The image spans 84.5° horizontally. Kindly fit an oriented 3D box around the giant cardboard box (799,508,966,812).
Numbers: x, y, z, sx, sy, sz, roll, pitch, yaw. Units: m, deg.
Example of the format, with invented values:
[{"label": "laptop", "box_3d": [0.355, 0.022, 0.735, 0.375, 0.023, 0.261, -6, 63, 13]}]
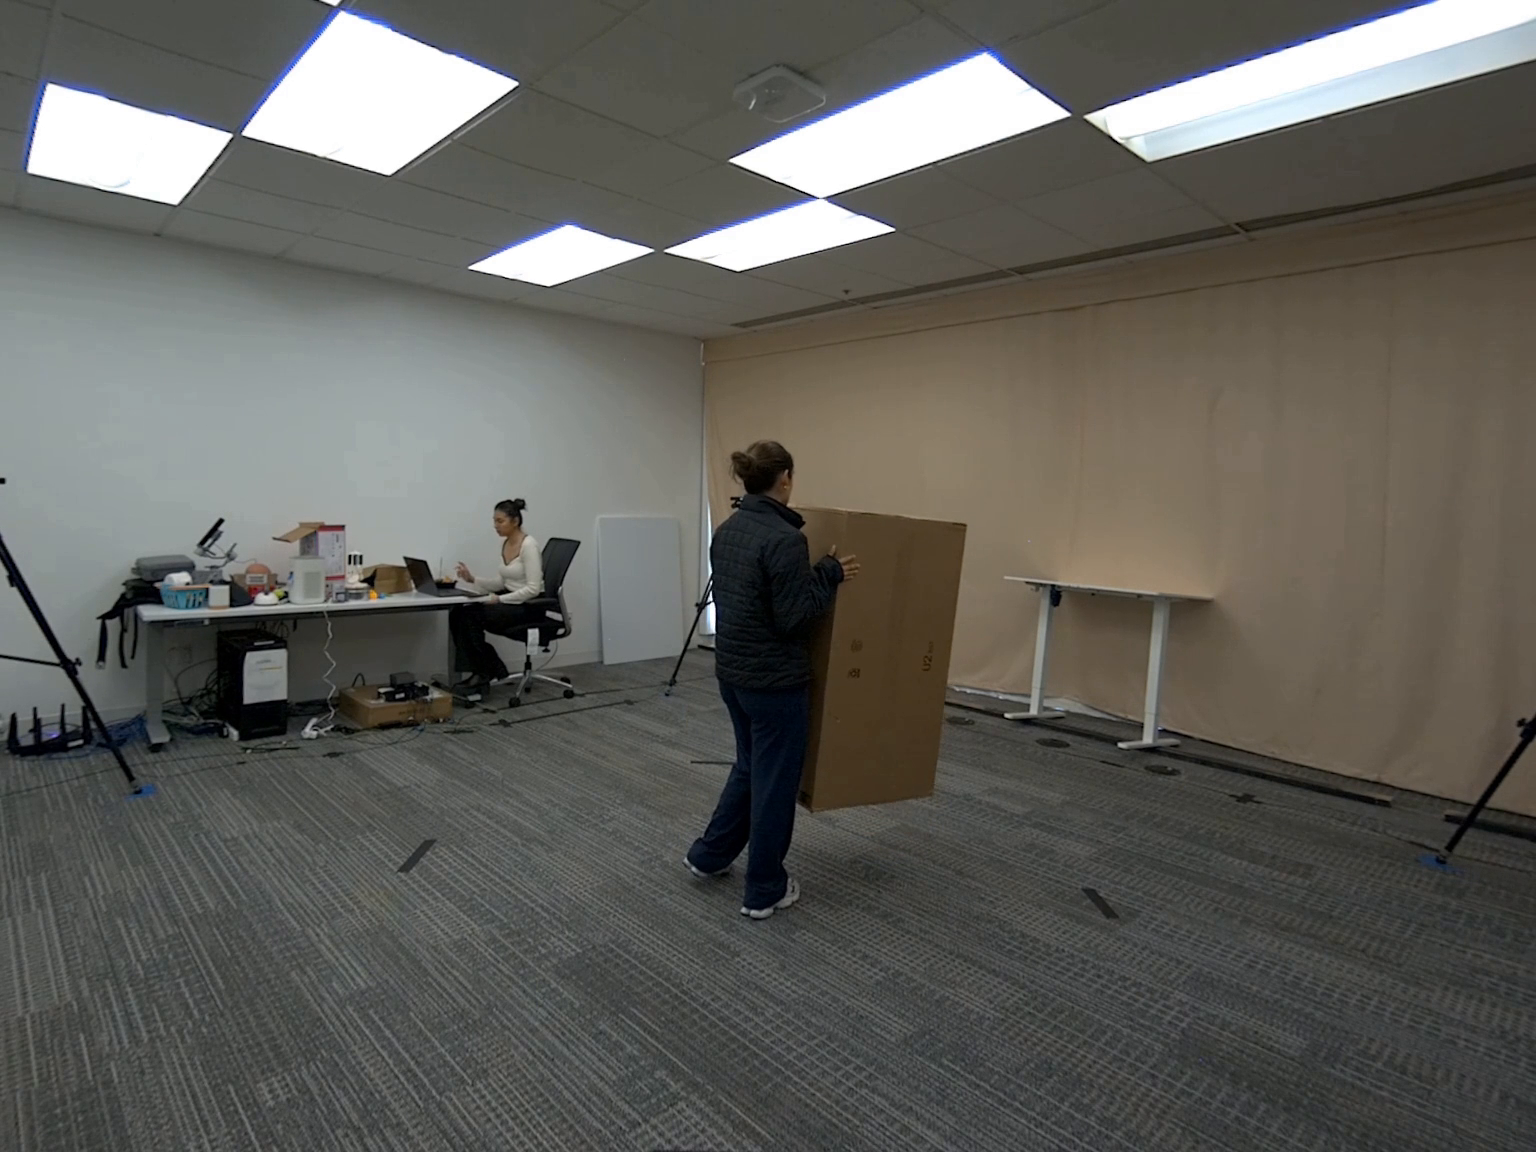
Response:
[{"label": "giant cardboard box", "box_3d": [0.307, 0.275, 3.120, 0.564, 1.023, 0.437, 4, 5, -33]}]
